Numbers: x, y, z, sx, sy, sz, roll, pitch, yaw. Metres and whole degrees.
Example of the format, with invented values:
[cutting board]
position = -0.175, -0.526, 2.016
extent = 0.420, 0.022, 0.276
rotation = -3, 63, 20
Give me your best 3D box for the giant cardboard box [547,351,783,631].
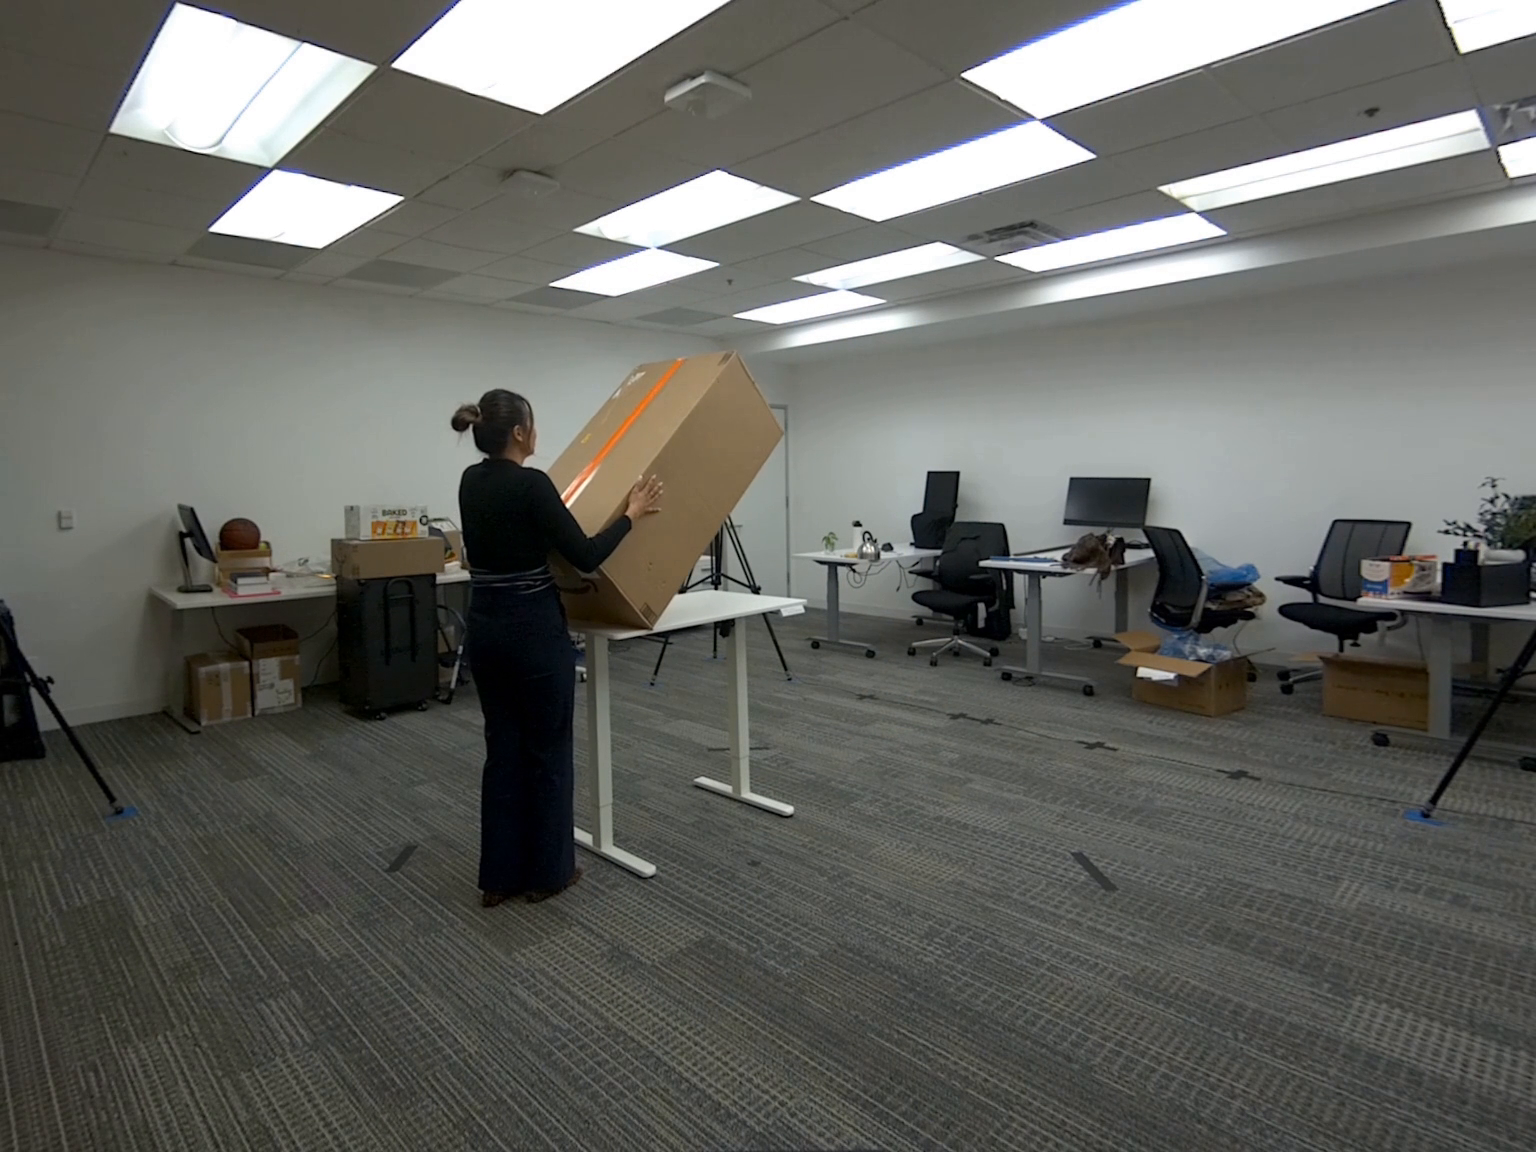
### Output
[giant cardboard box]
position = -0.475, -0.343, 3.280
extent = 0.595, 1.032, 0.411
rotation = 2, -39, 41
